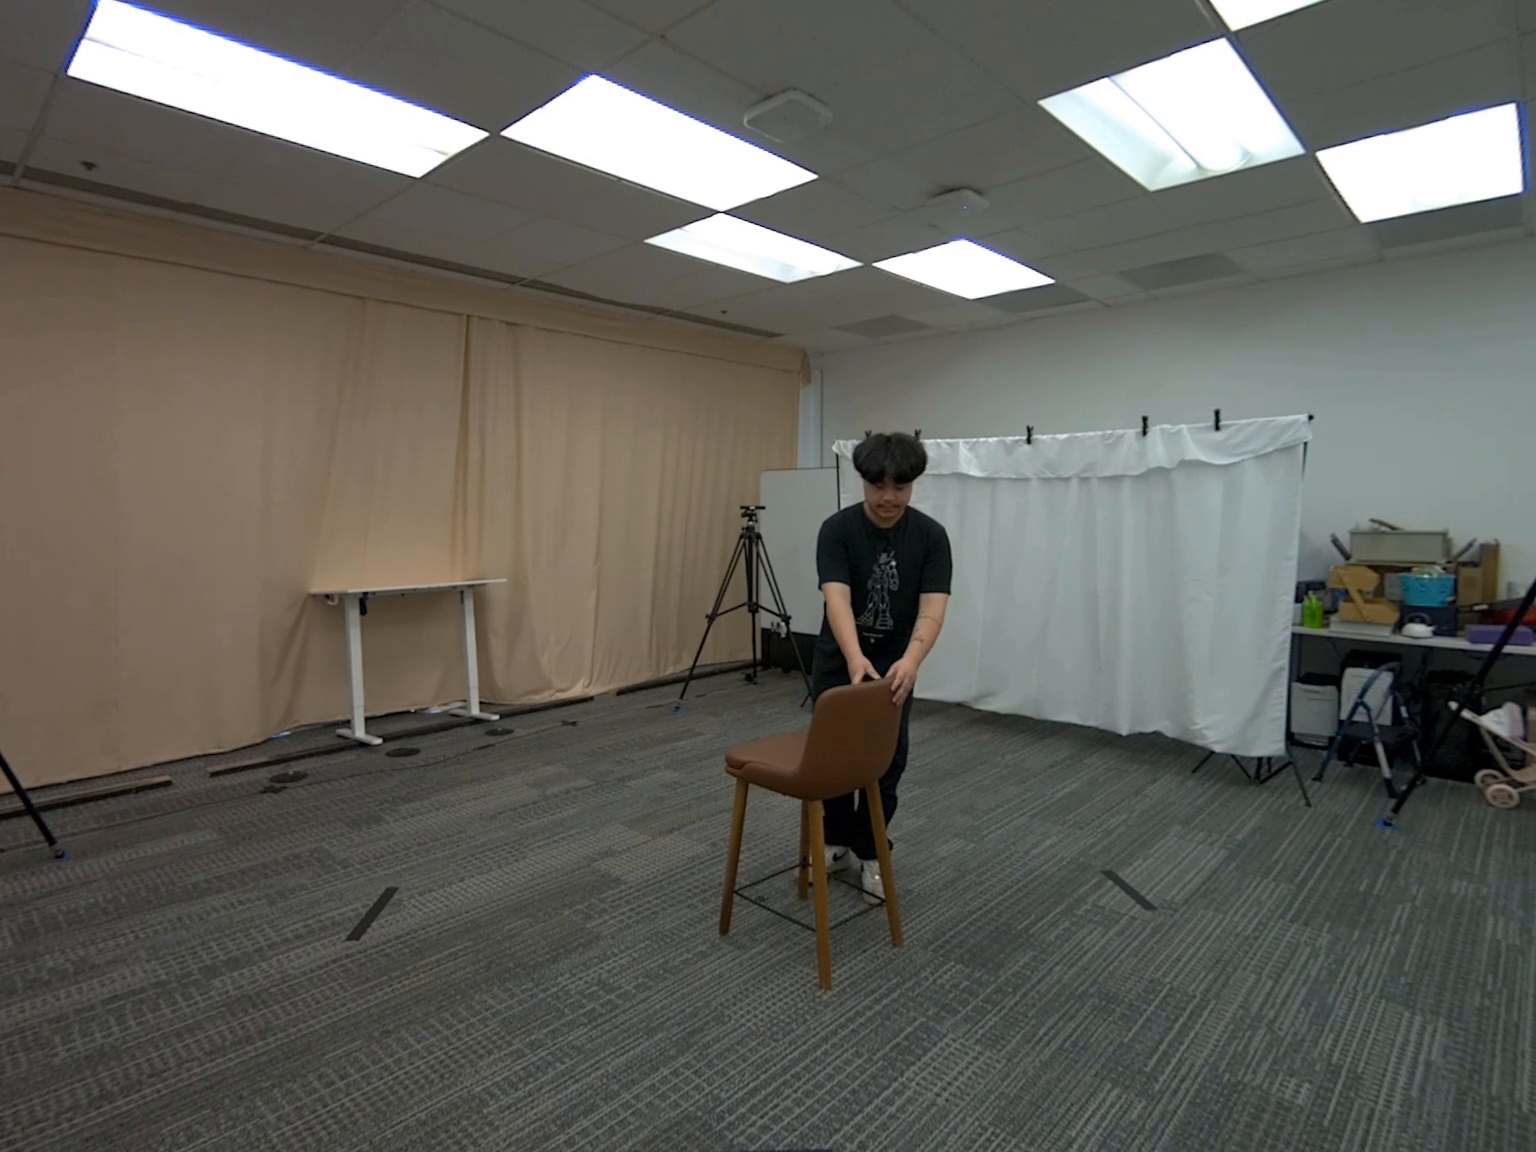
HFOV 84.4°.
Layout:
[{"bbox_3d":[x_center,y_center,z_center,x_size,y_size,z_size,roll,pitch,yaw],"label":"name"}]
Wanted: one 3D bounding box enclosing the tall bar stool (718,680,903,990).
[{"bbox_3d":[0.148,0.732,2.672,0.442,0.887,0.484,-3,7,-42],"label":"tall bar stool"}]
